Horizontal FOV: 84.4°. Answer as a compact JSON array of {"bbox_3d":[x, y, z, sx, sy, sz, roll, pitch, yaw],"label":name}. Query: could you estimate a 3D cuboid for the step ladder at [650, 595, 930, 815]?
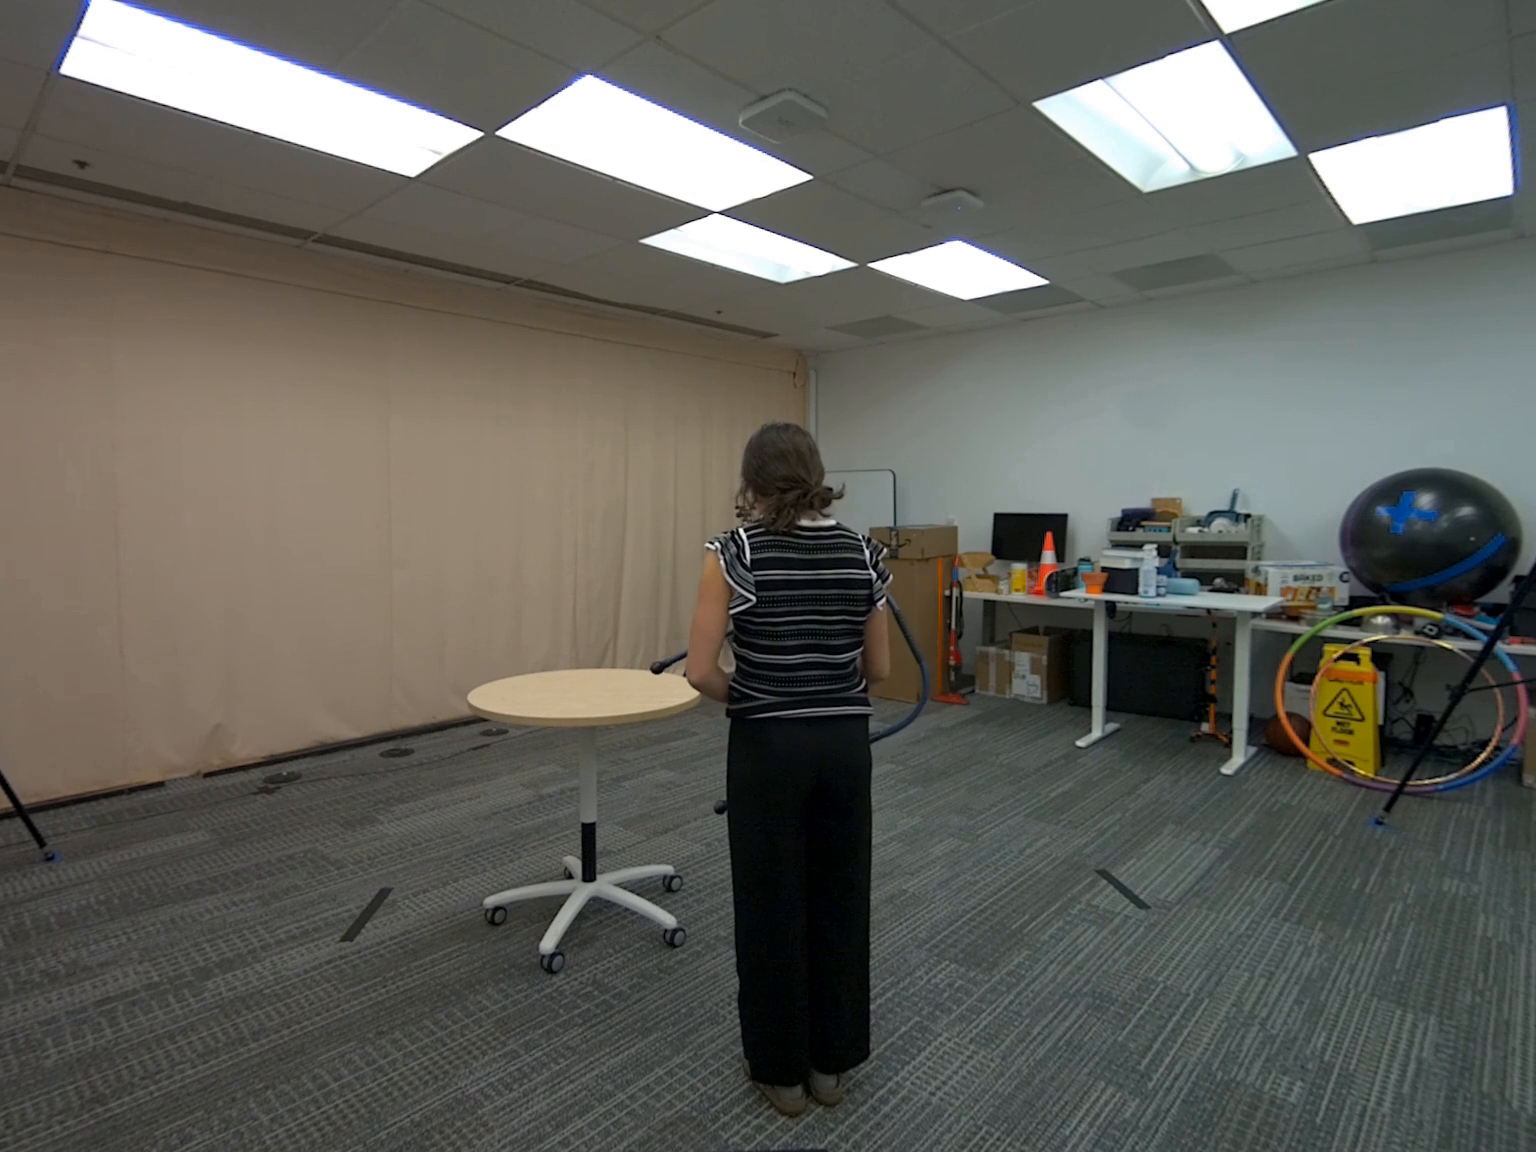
[{"bbox_3d":[0.094,0.270,2.157,0.616,0.434,0.340,-31,-9,36],"label":"step ladder"}]
